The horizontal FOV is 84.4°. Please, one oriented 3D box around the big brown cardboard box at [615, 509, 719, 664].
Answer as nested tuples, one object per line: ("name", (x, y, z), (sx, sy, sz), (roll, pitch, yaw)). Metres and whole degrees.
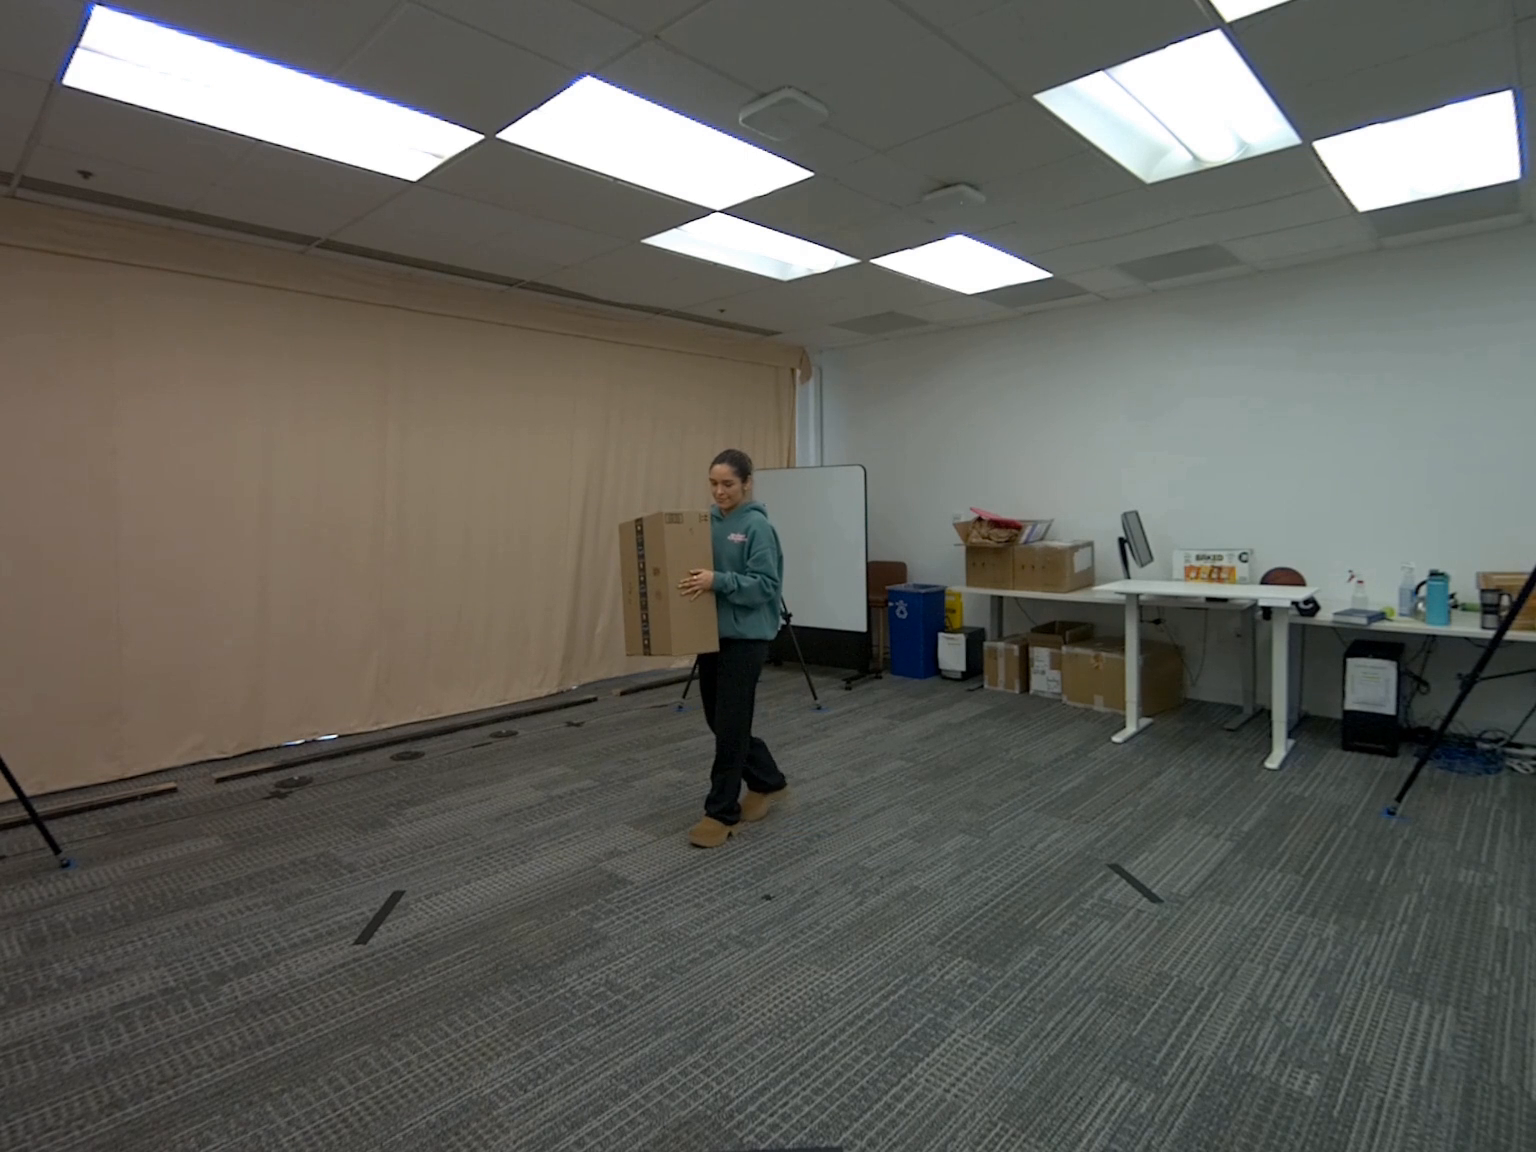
("big brown cardboard box", (-0.412, 0.045, 3.486), (0.226, 0.590, 0.428), (-3, -4, -34))
